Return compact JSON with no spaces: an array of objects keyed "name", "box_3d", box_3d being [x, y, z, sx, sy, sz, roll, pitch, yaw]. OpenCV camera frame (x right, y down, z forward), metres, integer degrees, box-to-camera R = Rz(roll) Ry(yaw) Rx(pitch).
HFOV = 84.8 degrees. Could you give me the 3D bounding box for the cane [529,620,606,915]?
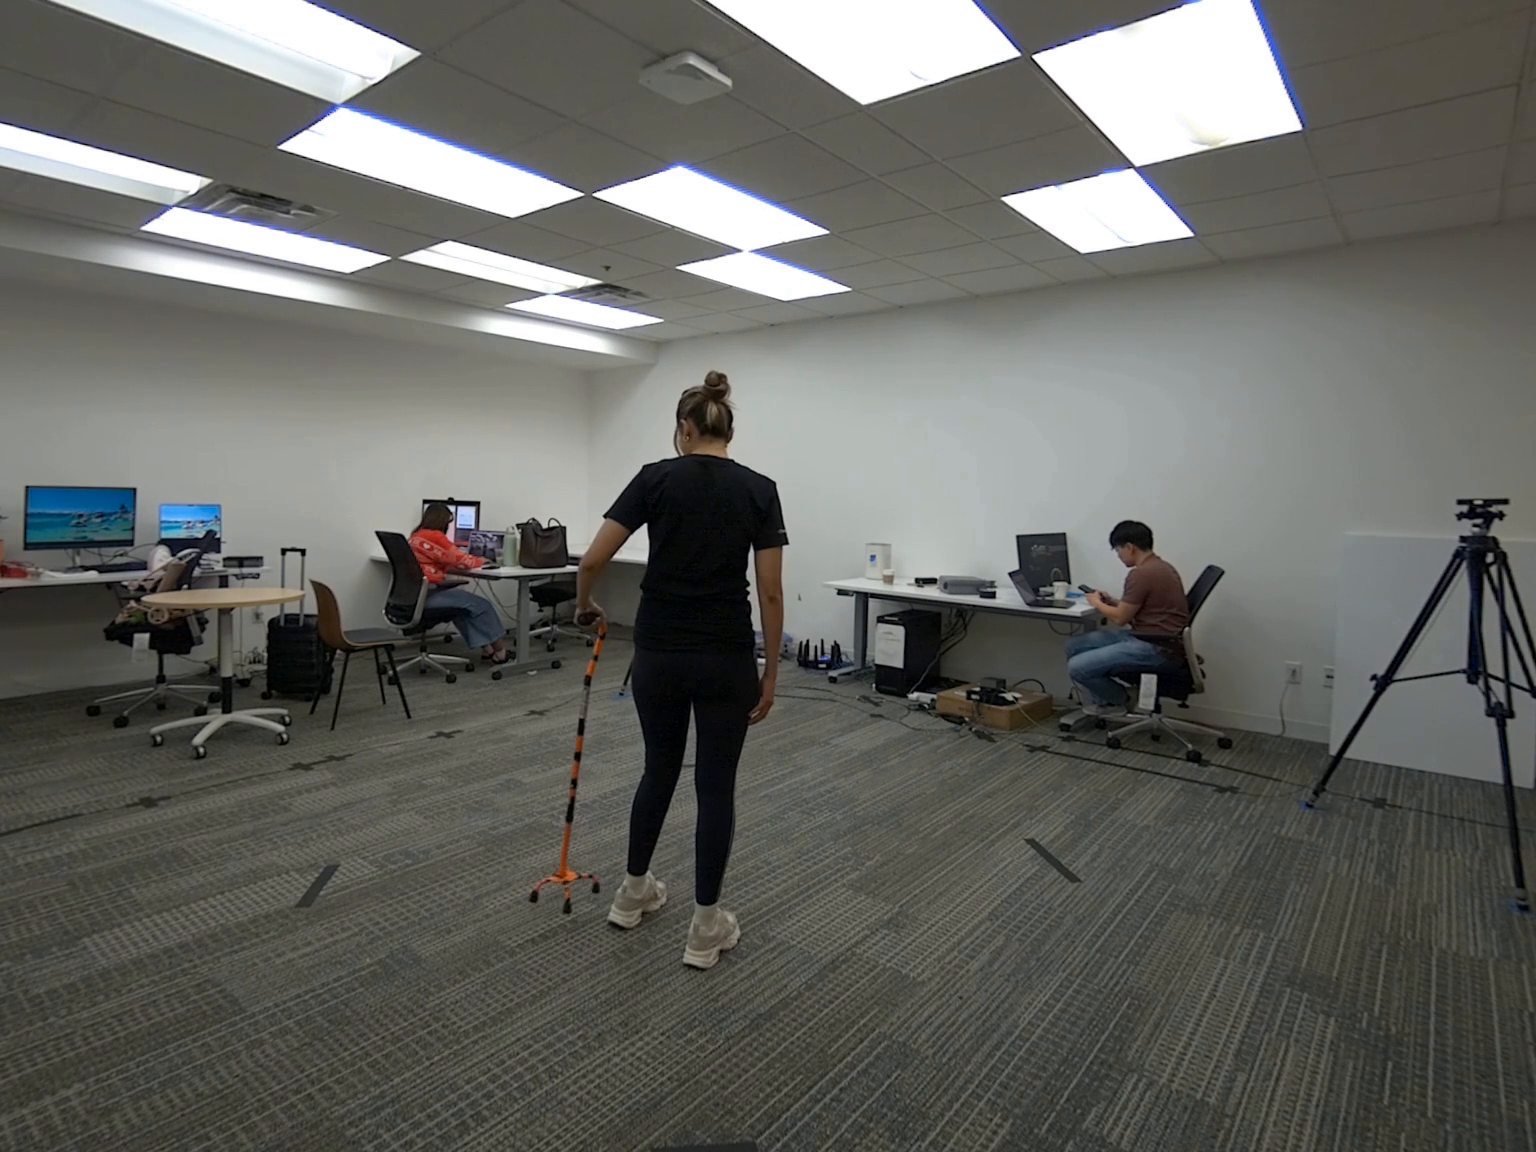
[{"name":"cane","box_3d":[-0.603,0.572,2.709,0.155,0.906,0.202,7,2,21]}]
